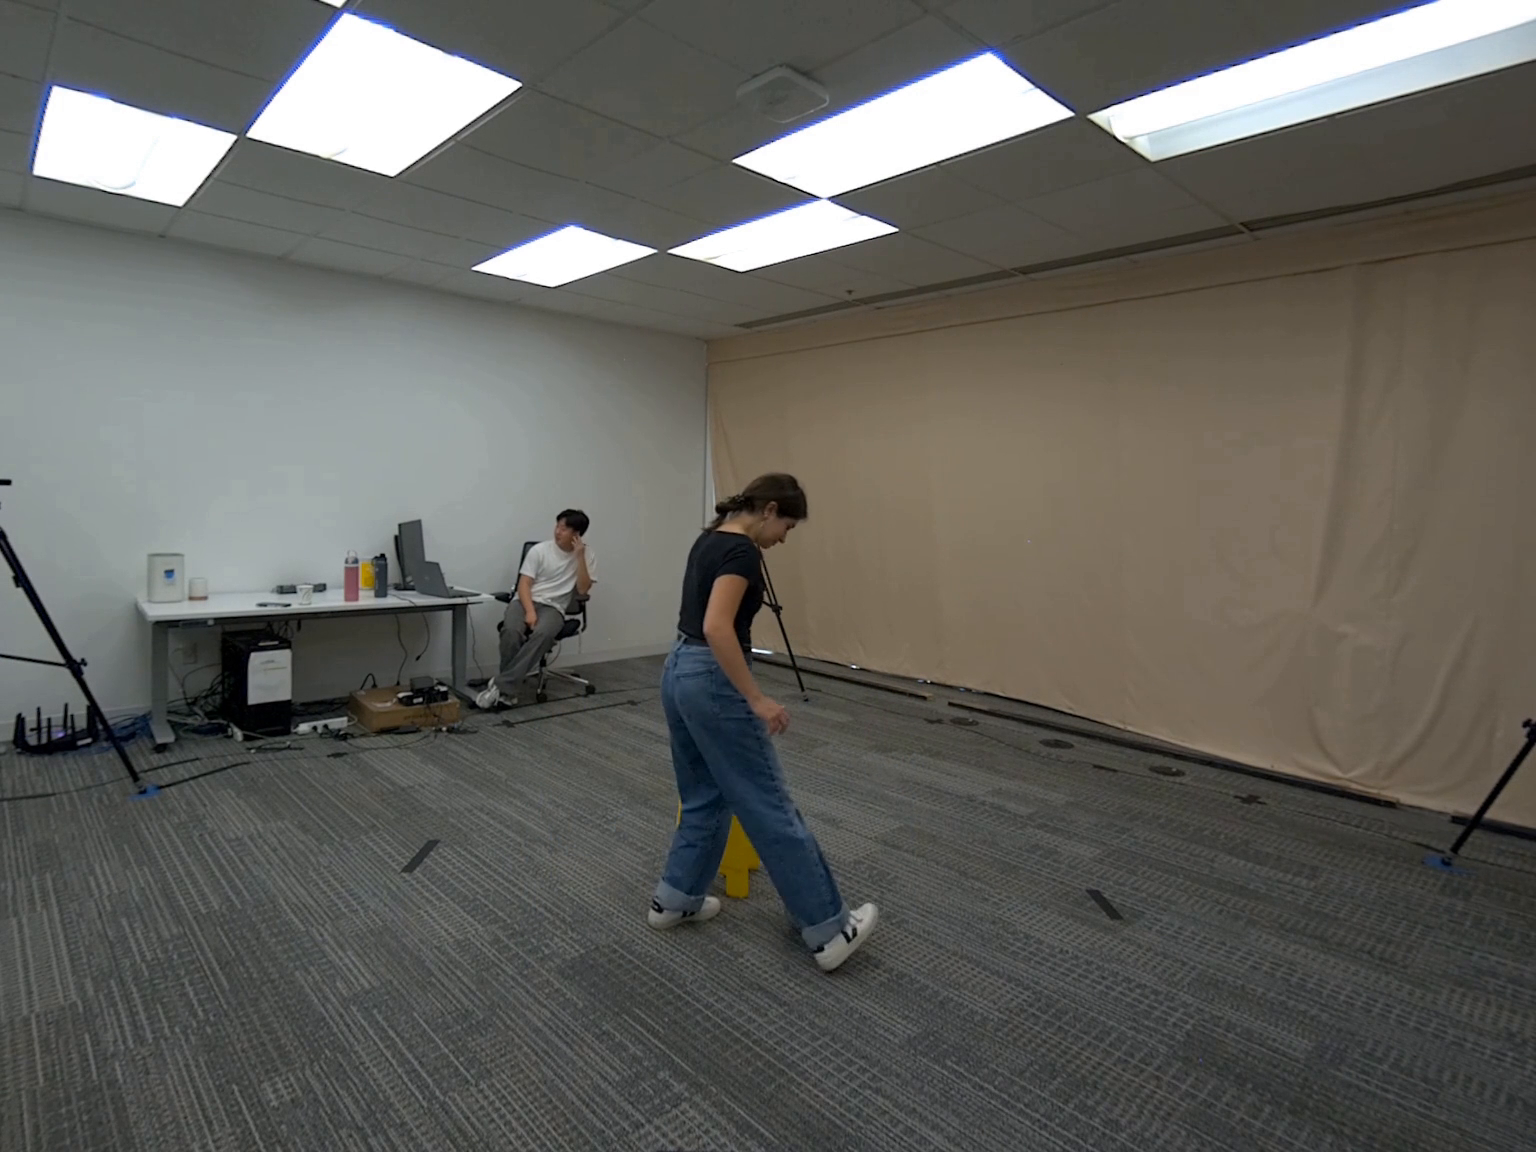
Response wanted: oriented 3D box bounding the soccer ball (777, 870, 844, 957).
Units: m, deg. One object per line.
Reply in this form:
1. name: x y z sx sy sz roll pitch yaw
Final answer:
1. soccer ball: 0.128 1.067 2.692 0.187 0.187 0.188 1 4 -1
